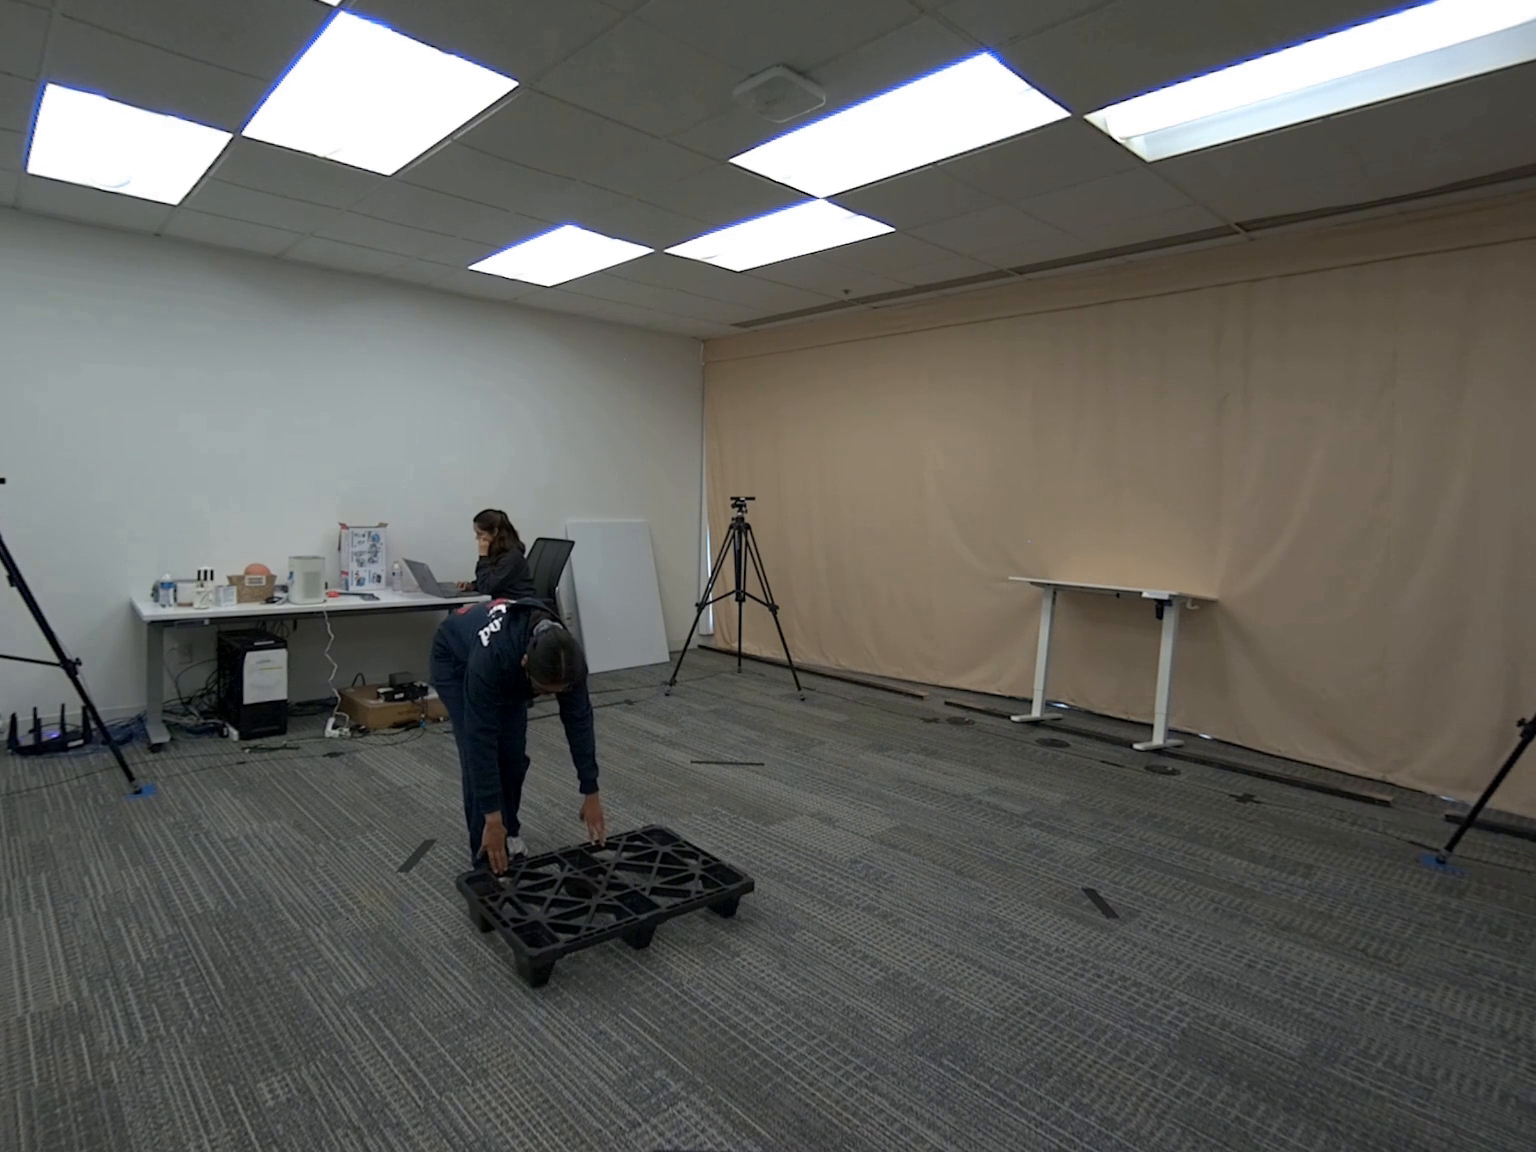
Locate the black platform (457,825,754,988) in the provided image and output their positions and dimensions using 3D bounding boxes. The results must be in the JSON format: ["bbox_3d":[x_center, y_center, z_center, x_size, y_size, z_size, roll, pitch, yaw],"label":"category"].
[{"bbox_3d":[-0.537,1.062,2.765,0.787,0.143,0.620,-3,6,-40],"label":"black platform"}]
